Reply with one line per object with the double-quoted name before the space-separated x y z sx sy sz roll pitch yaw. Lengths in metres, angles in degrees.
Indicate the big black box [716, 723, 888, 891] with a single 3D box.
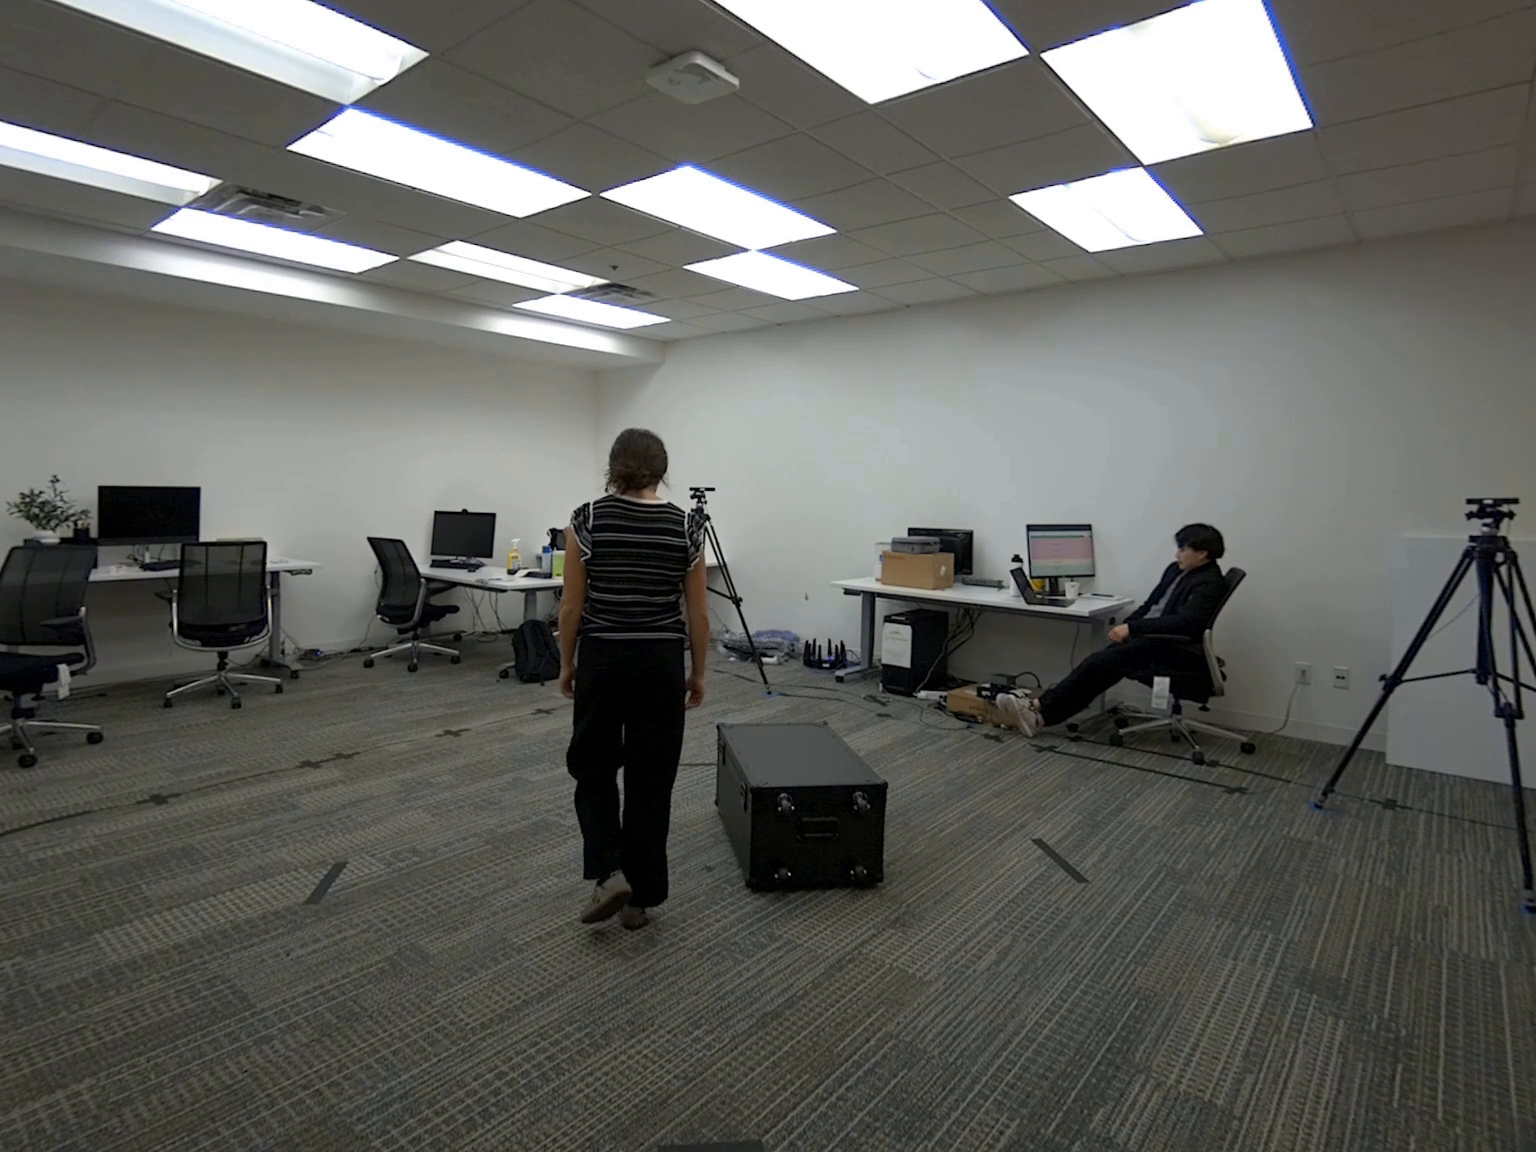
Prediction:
"big black box" 0.089 0.861 3.286 0.515 0.395 0.874 0 5 -11
